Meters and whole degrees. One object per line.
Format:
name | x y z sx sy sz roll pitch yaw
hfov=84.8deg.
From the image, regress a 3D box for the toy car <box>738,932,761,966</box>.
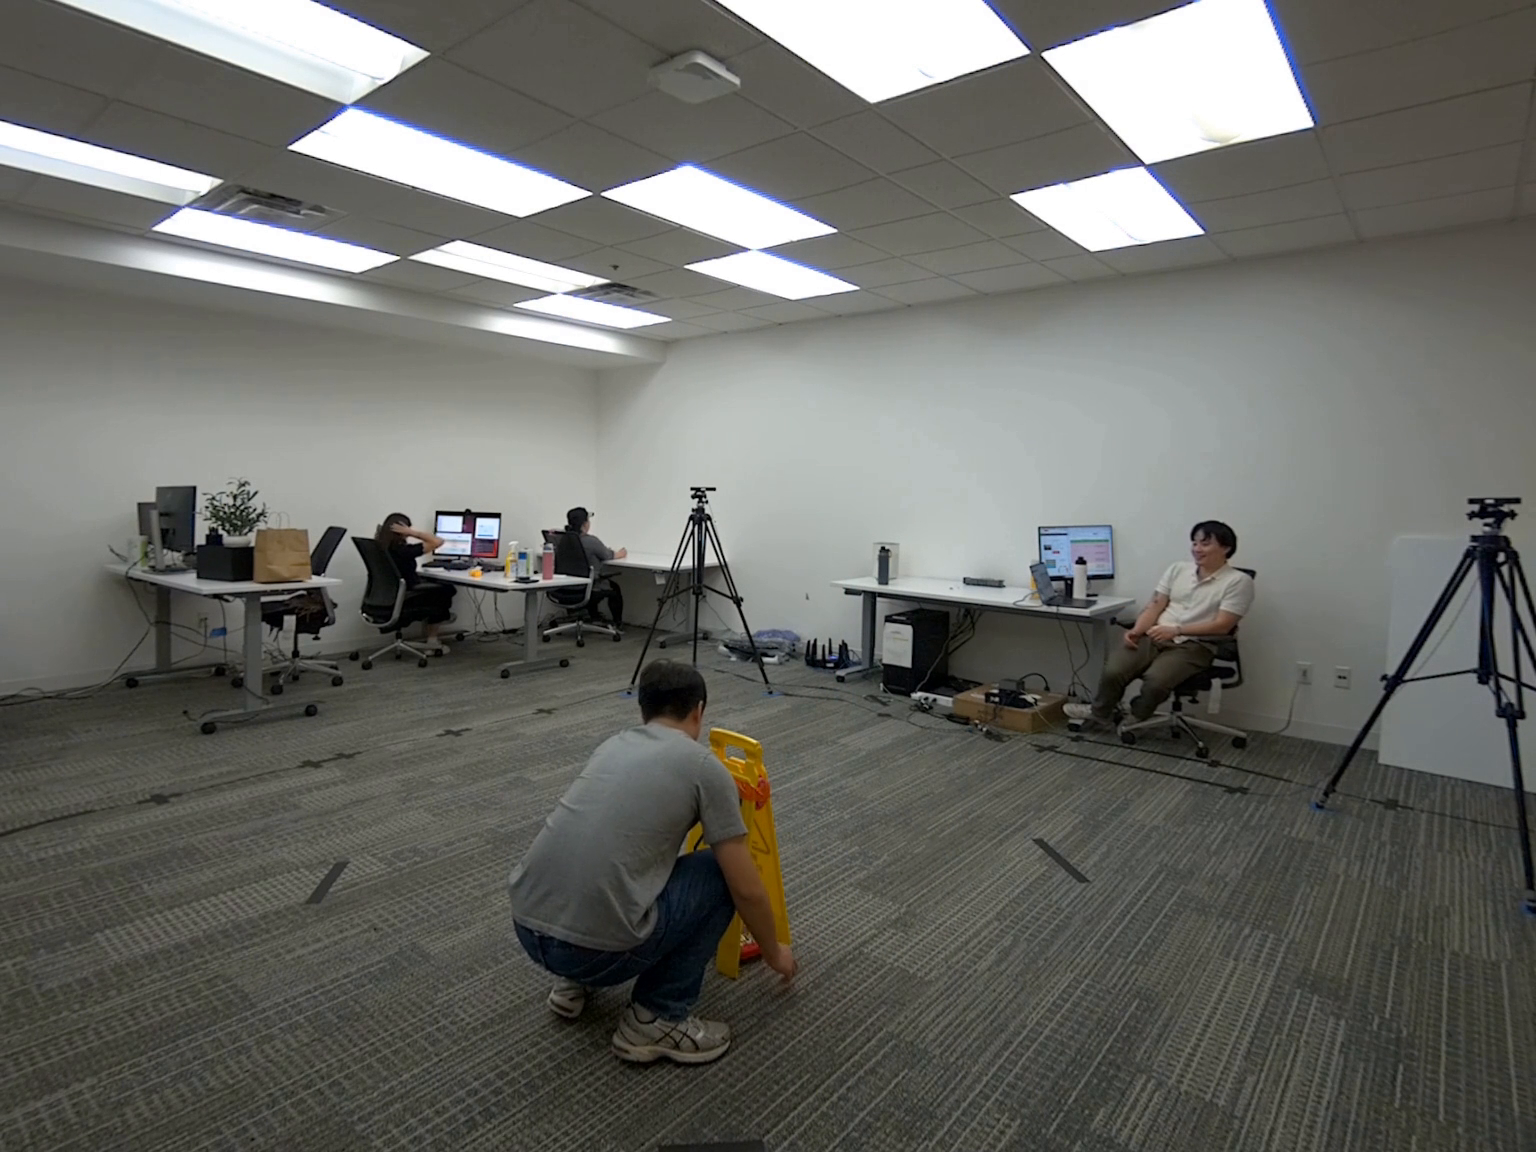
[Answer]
toy car | -0.139 1.085 2.588 0.127 0.082 0.264 -3 15 -33
